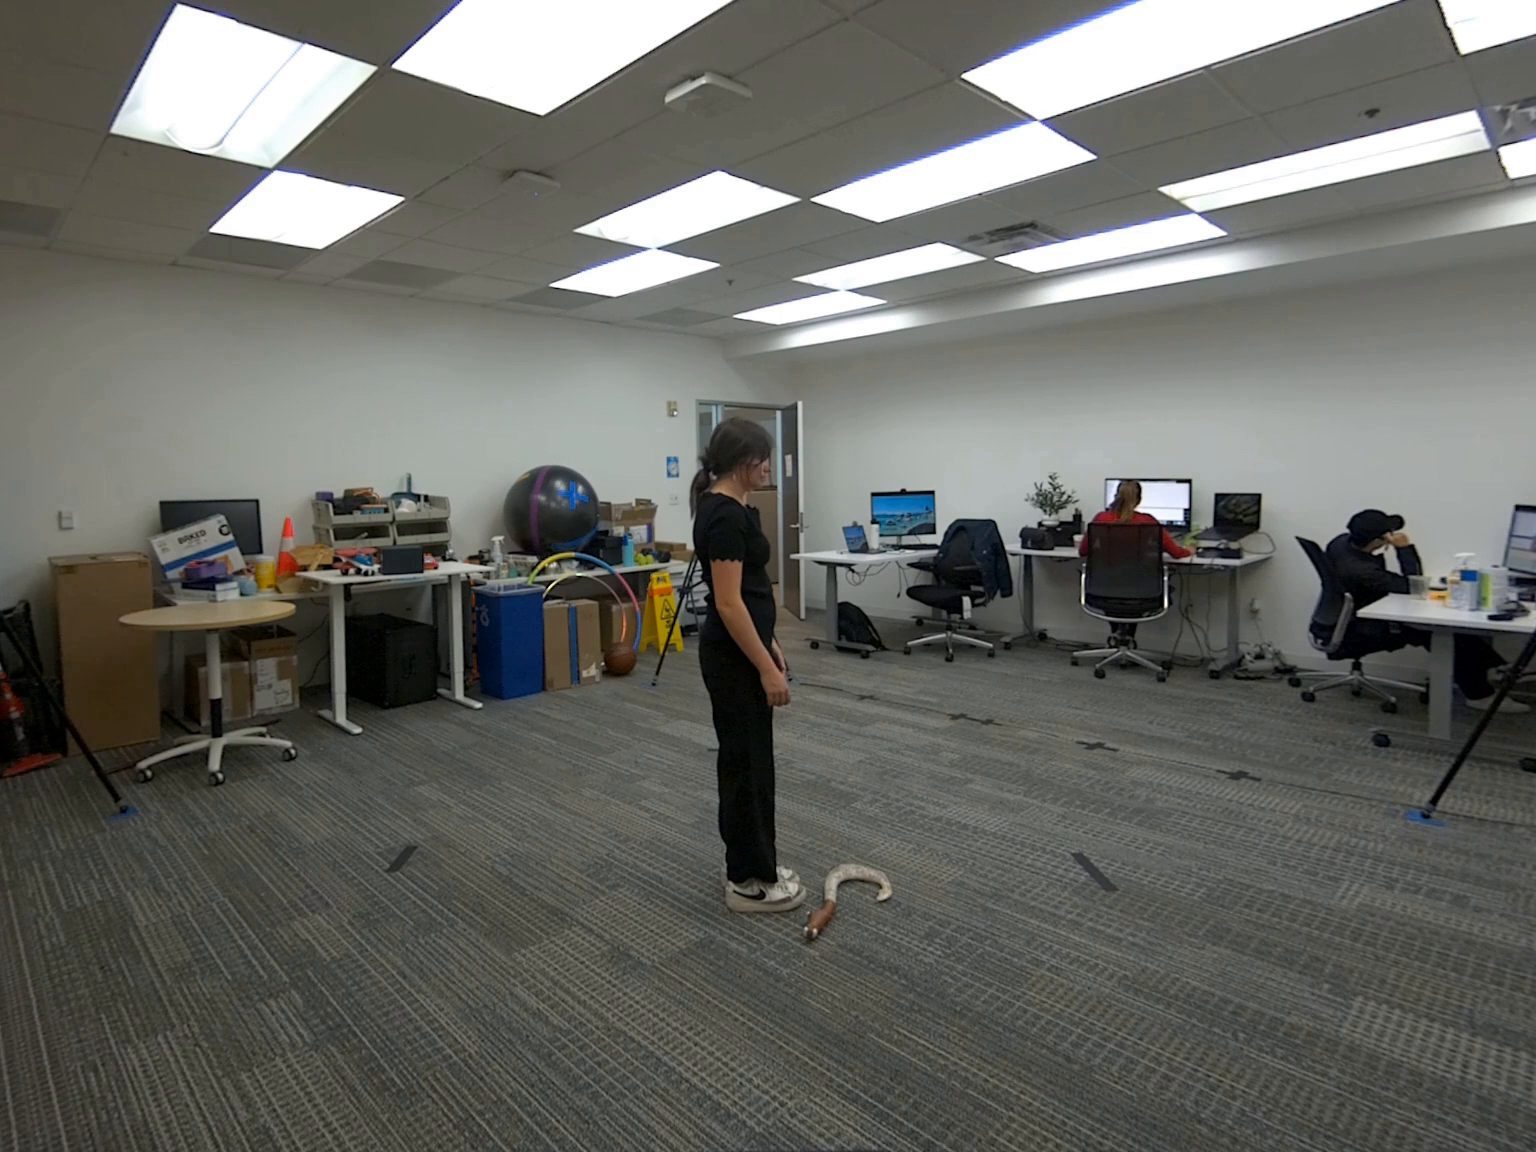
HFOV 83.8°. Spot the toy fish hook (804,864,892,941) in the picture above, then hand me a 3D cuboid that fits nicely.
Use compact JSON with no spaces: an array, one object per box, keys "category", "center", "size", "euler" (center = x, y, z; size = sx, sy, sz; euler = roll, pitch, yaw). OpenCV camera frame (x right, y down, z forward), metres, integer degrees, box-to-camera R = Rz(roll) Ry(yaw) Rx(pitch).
[{"category":"toy fish hook","center":[0.263,1.053,2.768],"size":[0.229,0.048,0.498],"euler":[-1,7,22]}]
